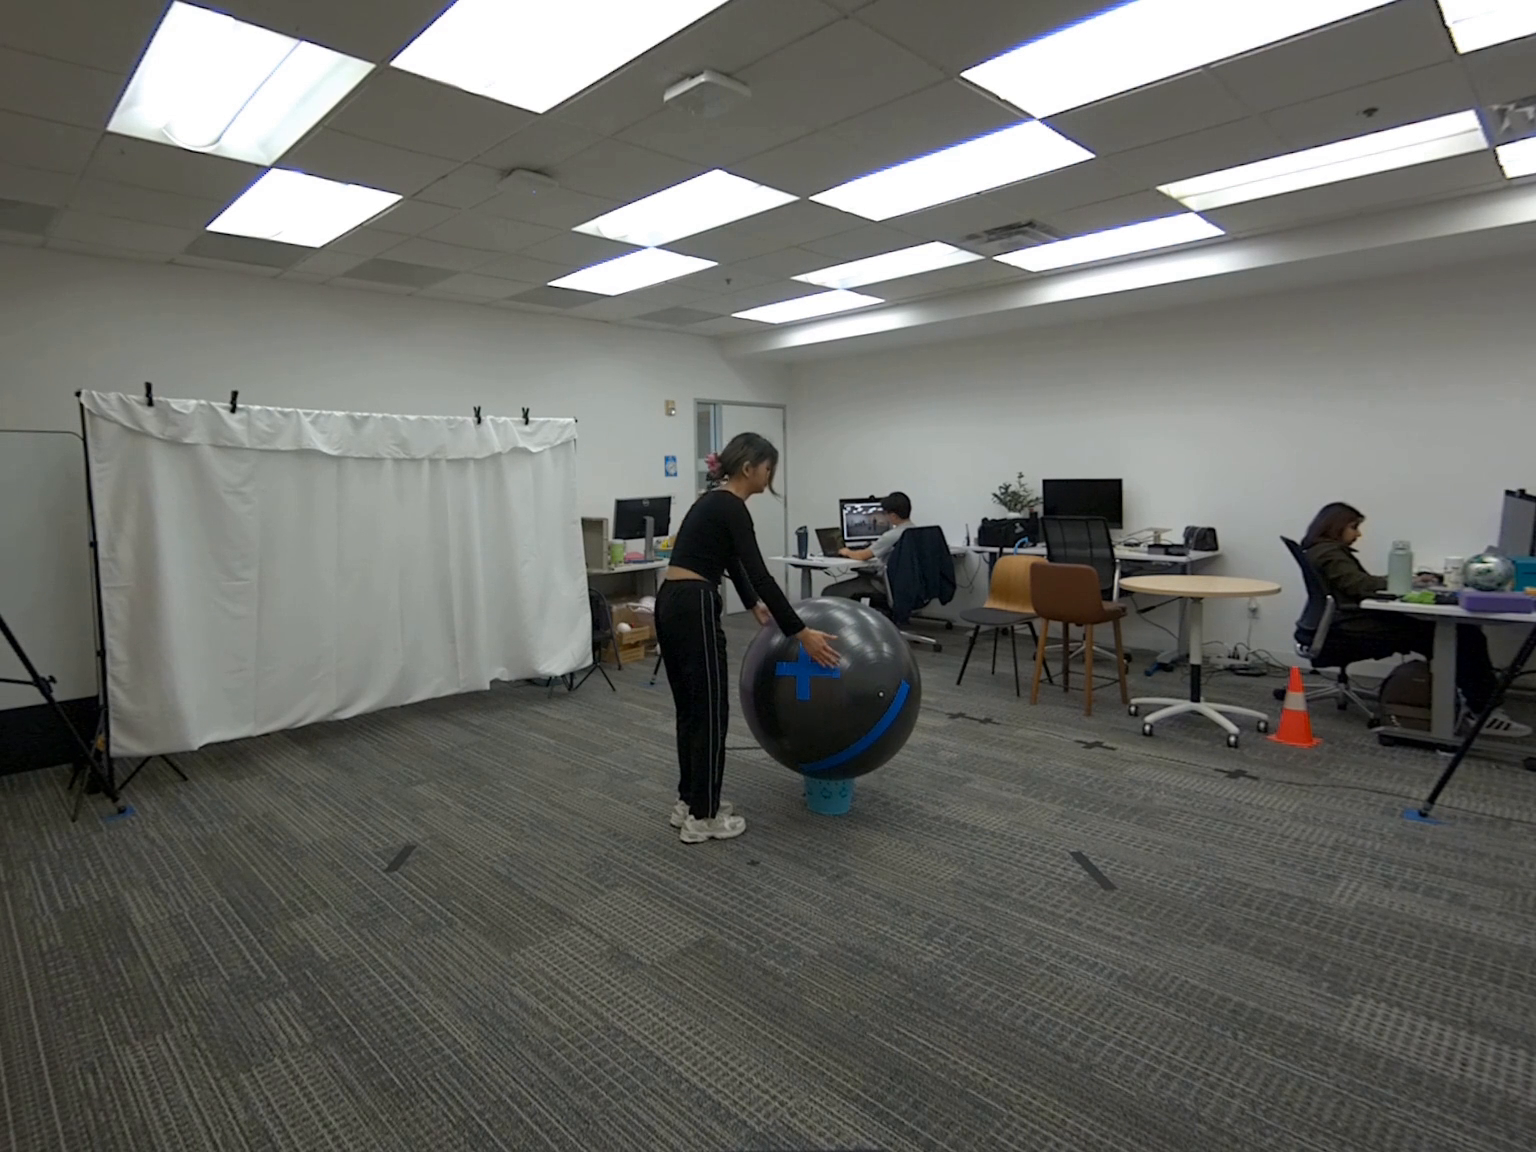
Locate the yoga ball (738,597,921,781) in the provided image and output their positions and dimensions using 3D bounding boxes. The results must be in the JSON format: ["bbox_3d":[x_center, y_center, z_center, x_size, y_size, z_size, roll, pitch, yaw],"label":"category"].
[{"bbox_3d":[0.257,0.469,3.599,0.757,0.755,0.762,-1,5,-2],"label":"yoga ball"}]
